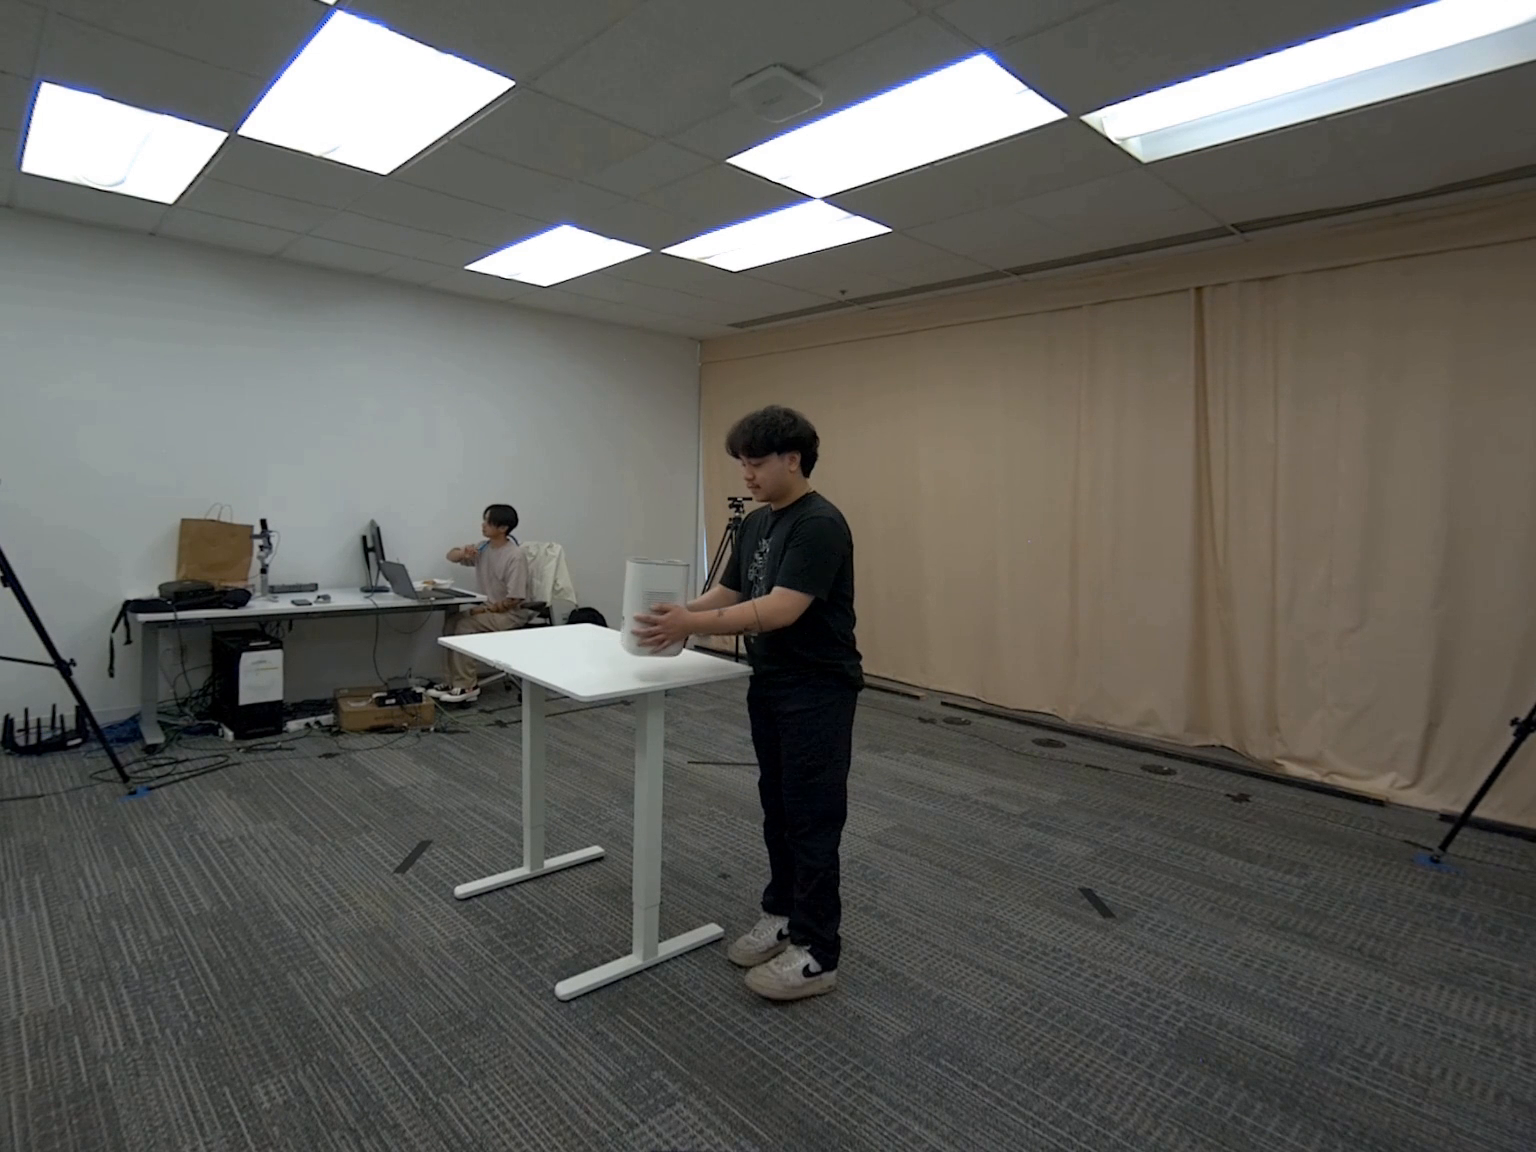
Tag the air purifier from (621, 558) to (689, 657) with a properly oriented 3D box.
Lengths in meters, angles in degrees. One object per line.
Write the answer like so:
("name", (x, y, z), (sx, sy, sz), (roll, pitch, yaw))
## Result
("air purifier", (-0.322, 0.089, 2.394), (0.169, 0.265, 0.173), (3, 4, -15))
